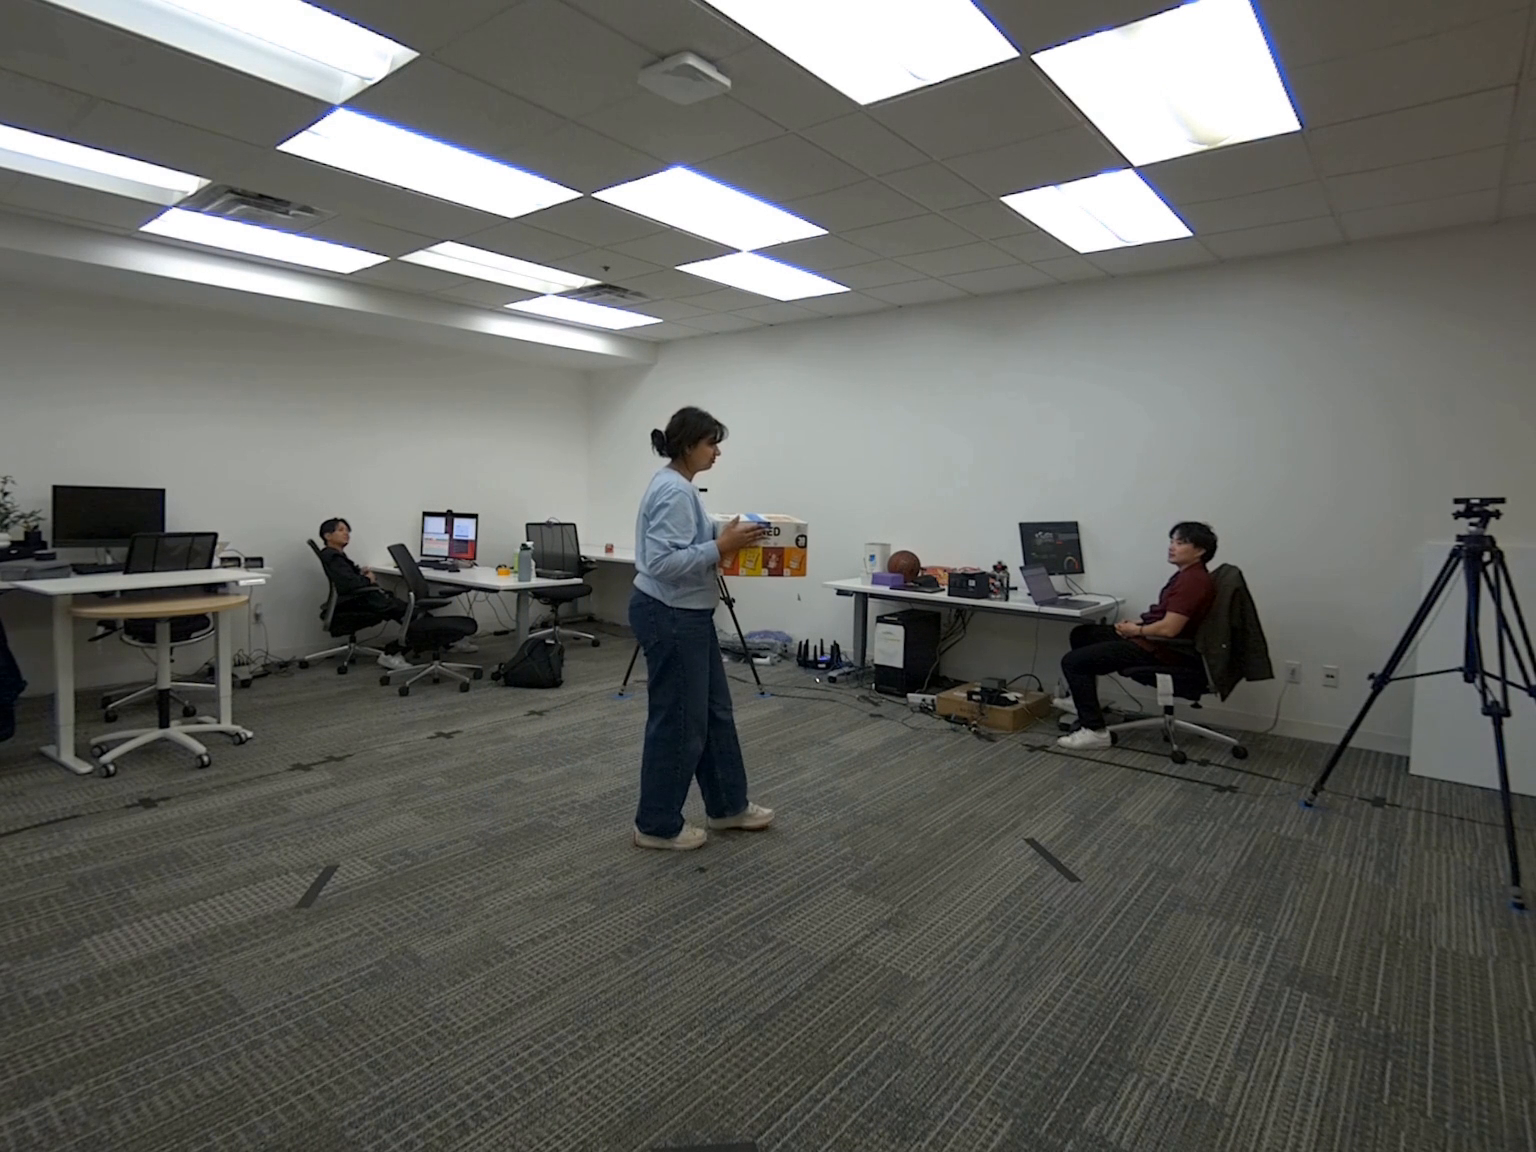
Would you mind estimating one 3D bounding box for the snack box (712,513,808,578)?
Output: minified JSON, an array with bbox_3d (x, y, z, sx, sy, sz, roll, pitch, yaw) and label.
[{"bbox_3d":[-0.060,-0.130,3.352,0.338,0.204,0.411,0,8,-8],"label":"snack box"}]
